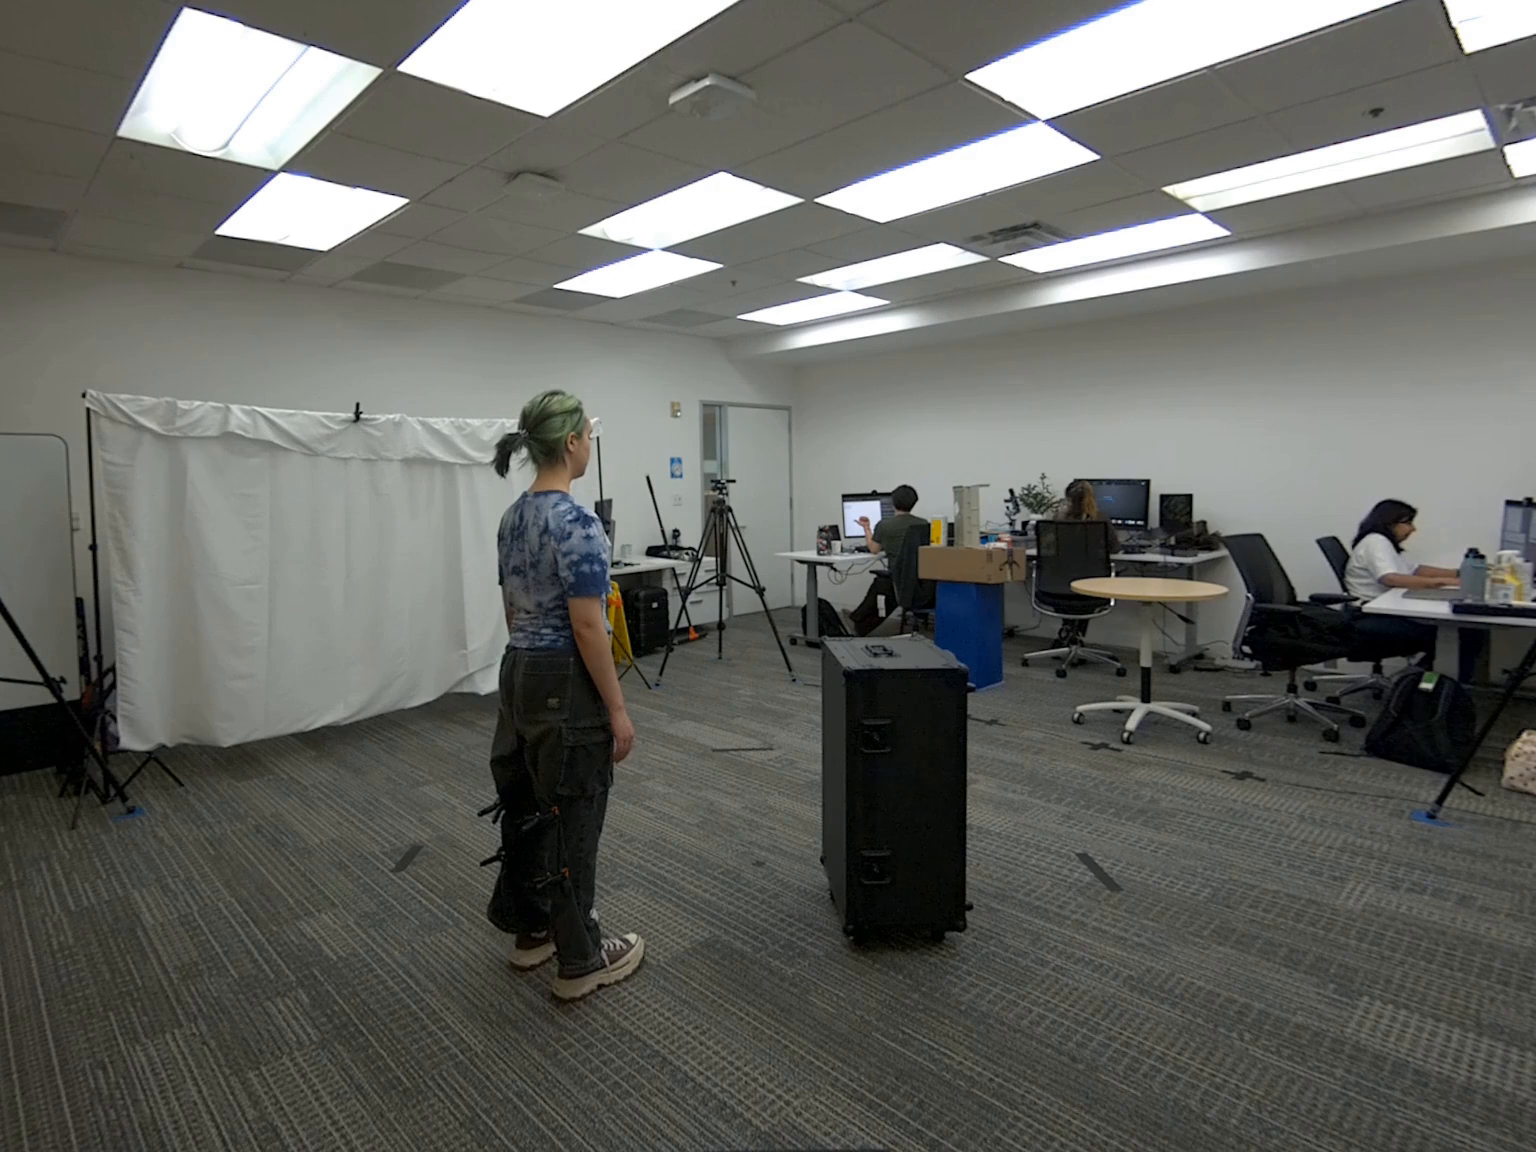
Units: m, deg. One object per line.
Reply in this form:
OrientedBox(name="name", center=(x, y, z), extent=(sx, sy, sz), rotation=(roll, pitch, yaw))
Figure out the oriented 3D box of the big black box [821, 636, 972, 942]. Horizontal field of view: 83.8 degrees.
OrientedBox(name="big black box", center=(0.394, 0.660, 2.702), extent=(0.395, 0.859, 0.525), rotation=(0, 4, -5))
